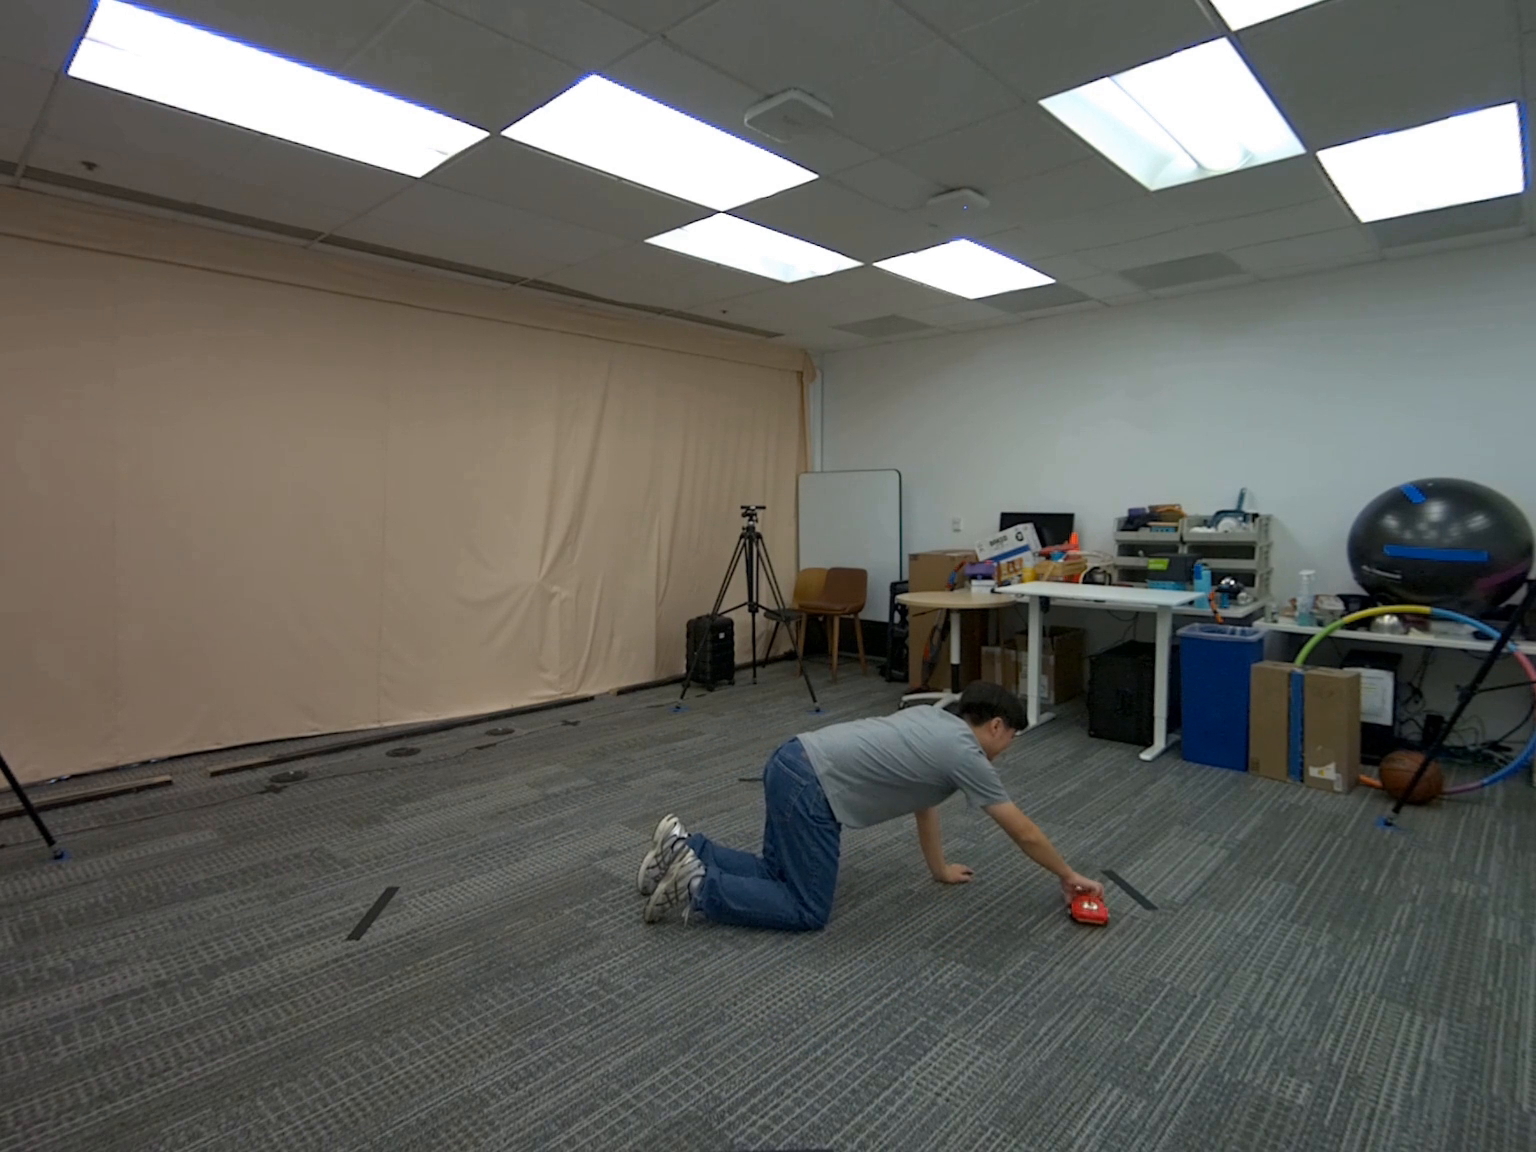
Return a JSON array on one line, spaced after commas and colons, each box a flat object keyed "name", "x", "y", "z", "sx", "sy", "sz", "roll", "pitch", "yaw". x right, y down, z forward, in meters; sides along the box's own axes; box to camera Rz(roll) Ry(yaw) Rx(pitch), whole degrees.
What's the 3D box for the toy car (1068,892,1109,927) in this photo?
[{"name": "toy car", "x": 1.081, "y": 1.124, "z": 2.846, "sx": 0.132, "sy": 0.083, "sz": 0.249, "roll": 3, "pitch": -6, "yaw": 13}]
